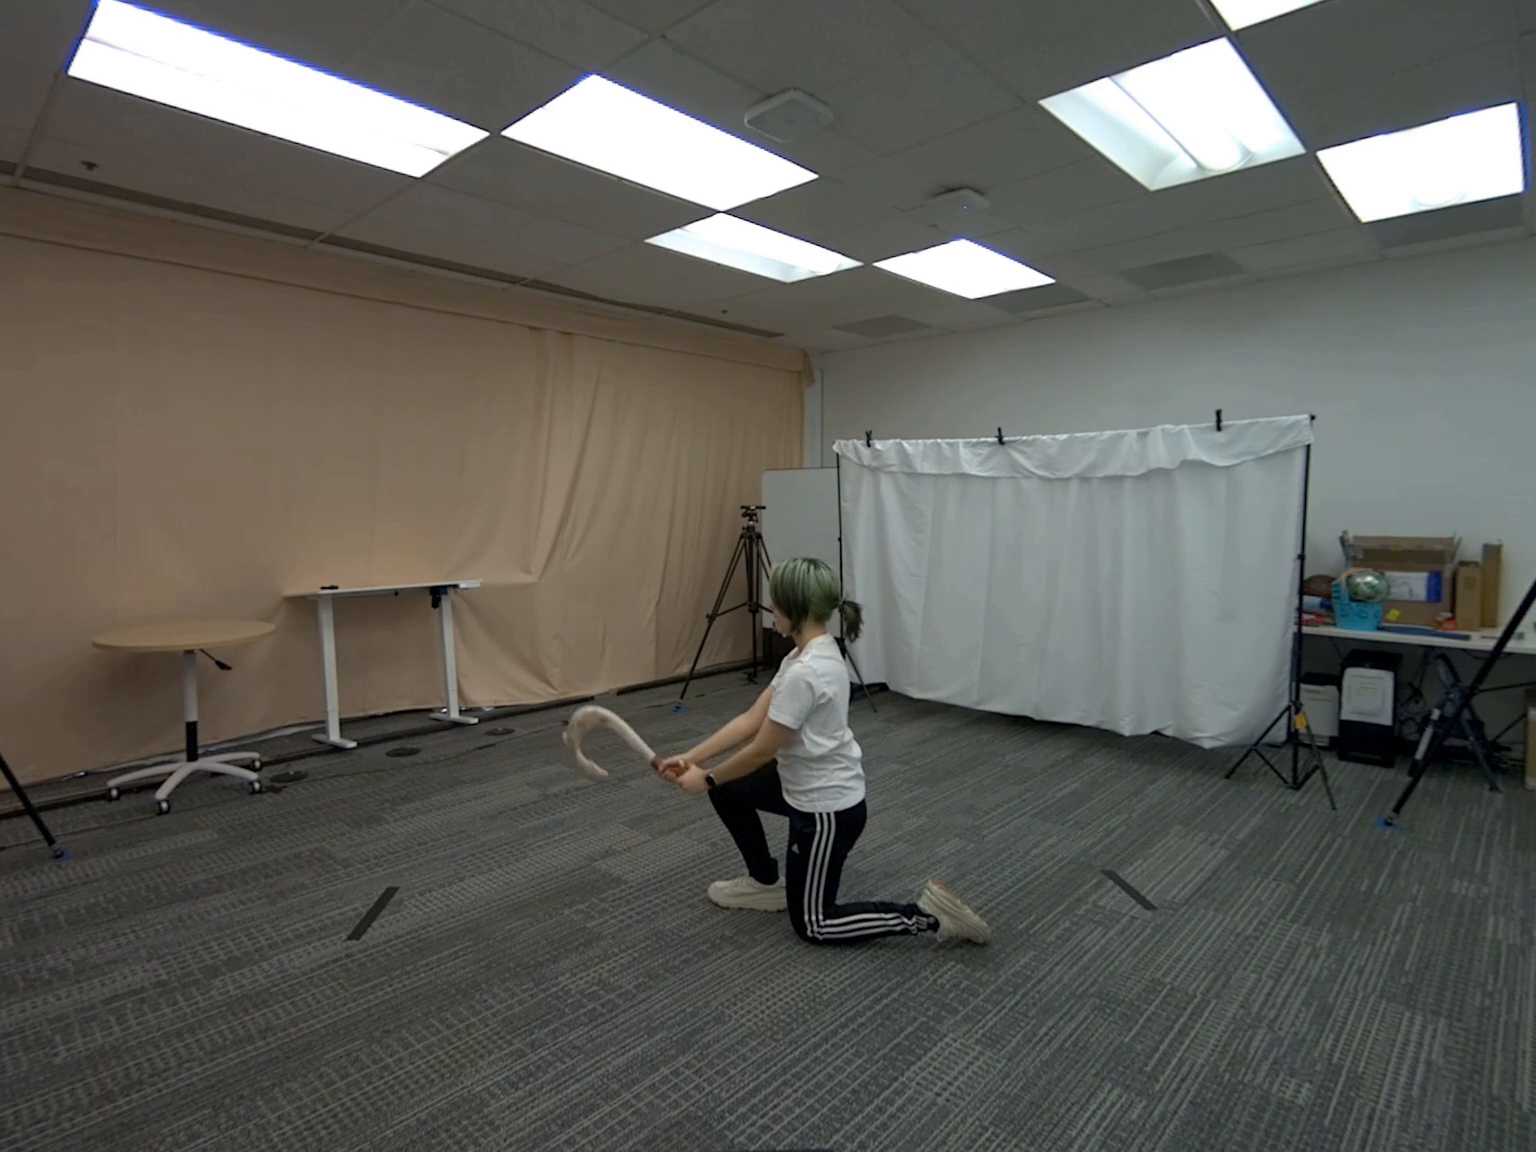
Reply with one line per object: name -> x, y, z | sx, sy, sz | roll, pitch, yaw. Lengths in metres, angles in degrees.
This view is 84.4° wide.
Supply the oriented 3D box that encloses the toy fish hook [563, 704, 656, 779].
toy fish hook -> -0.429, 0.611, 2.791 | 0.512, 0.224, 0.048 | 29, 11, 8
